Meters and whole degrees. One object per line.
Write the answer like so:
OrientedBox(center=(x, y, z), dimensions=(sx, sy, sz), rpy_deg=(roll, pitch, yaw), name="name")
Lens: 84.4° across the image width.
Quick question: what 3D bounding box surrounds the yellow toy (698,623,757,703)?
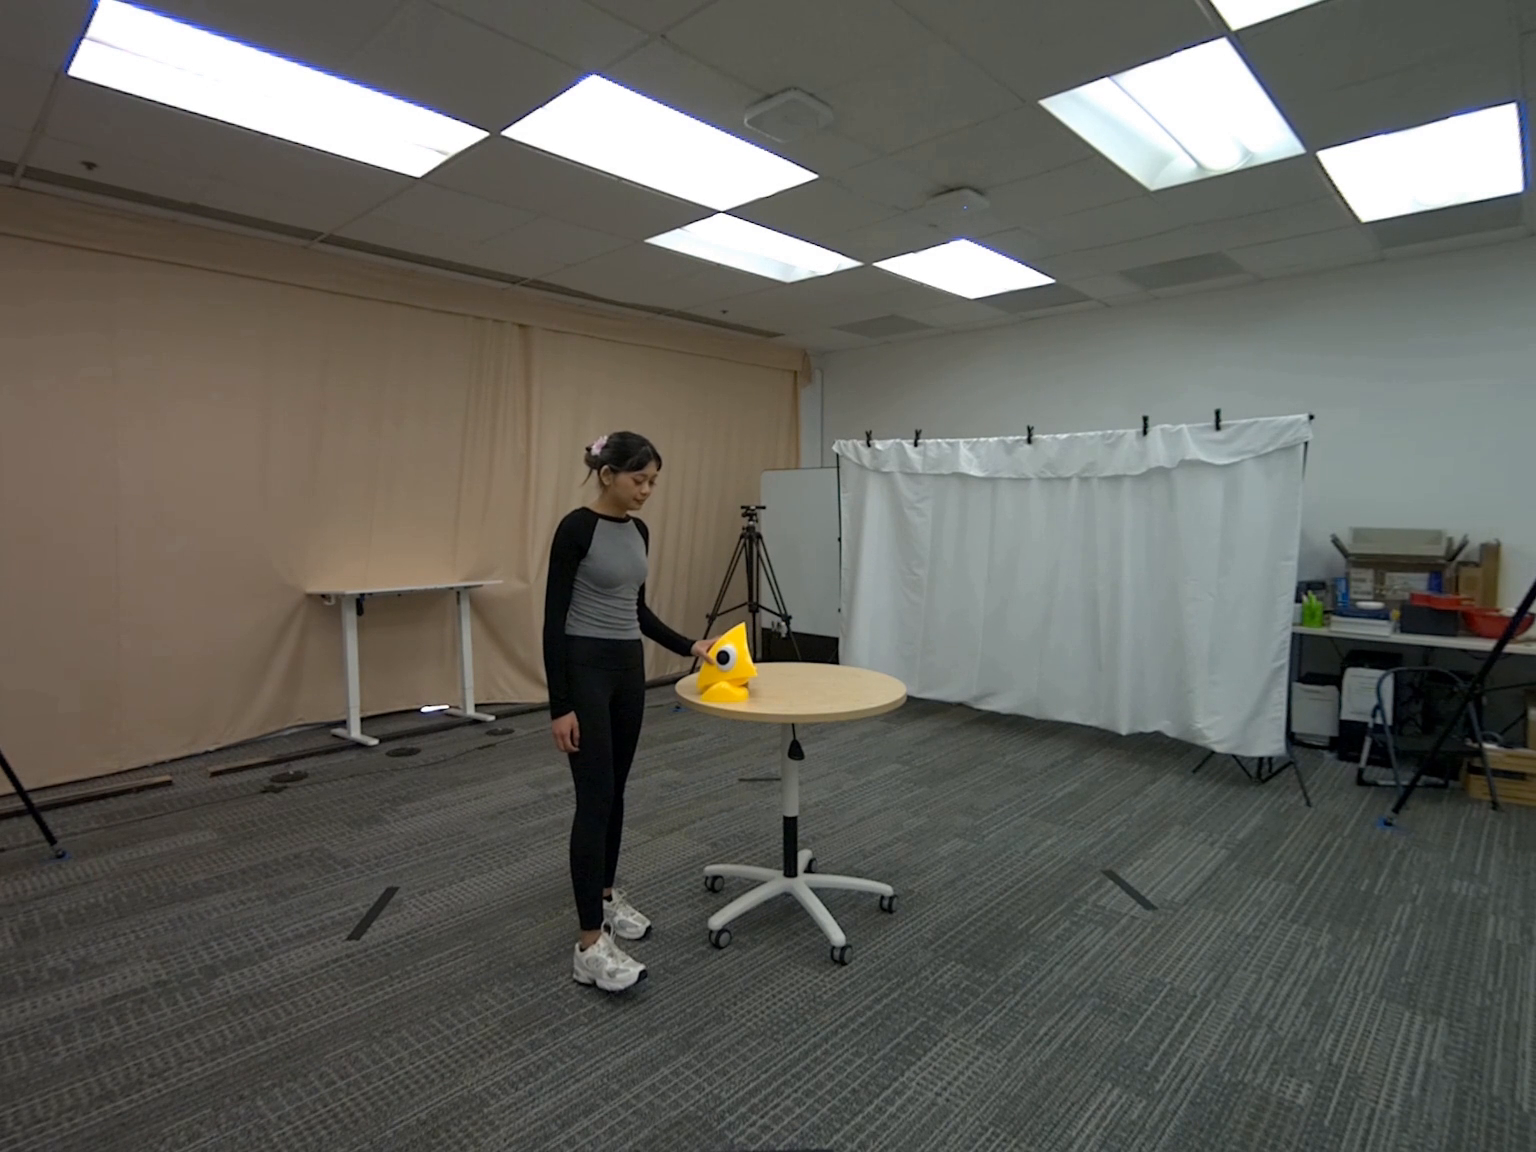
OrientedBox(center=(-0.128, 0.267, 2.673), dimensions=(0.192, 0.230, 0.206), rpy_deg=(1, 3, -5), name="yellow toy")
